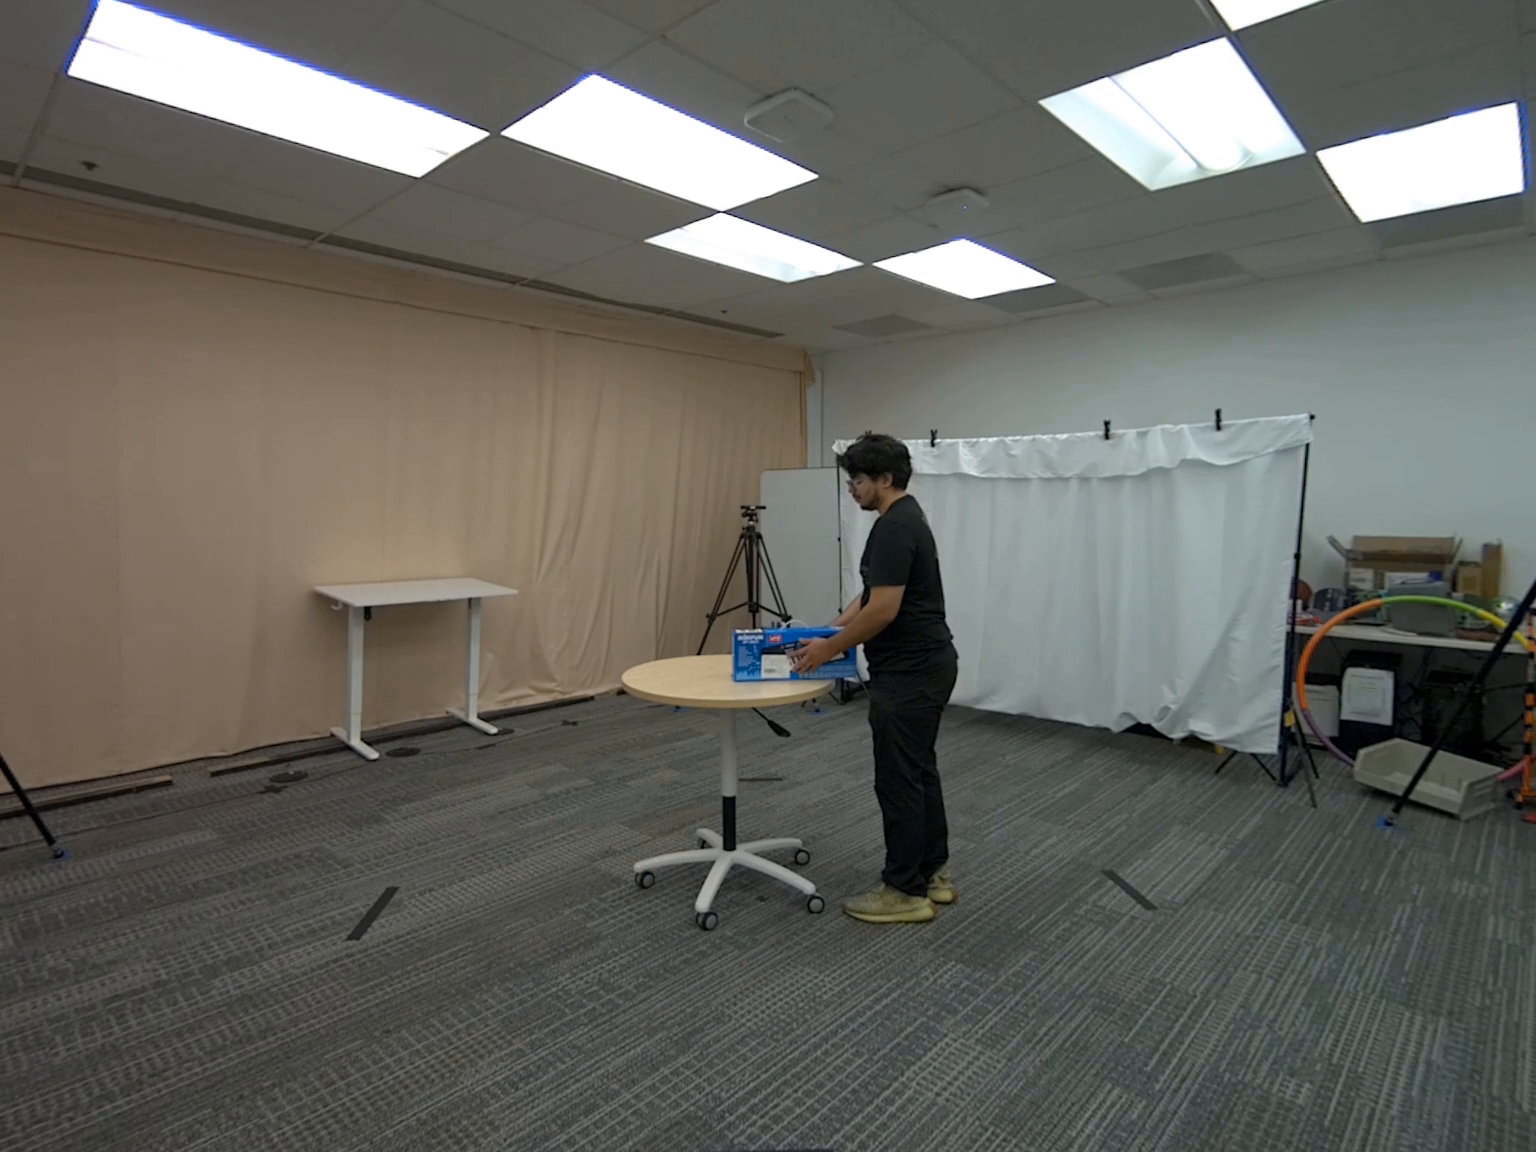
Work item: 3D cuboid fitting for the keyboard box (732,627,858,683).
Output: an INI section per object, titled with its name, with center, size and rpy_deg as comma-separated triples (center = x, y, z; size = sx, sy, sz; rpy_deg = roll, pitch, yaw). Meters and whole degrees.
[keyboard box]
center = 0.095, 0.280, 2.962
size = 0.434, 0.175, 0.060
rpy_deg = -1, 6, -6
